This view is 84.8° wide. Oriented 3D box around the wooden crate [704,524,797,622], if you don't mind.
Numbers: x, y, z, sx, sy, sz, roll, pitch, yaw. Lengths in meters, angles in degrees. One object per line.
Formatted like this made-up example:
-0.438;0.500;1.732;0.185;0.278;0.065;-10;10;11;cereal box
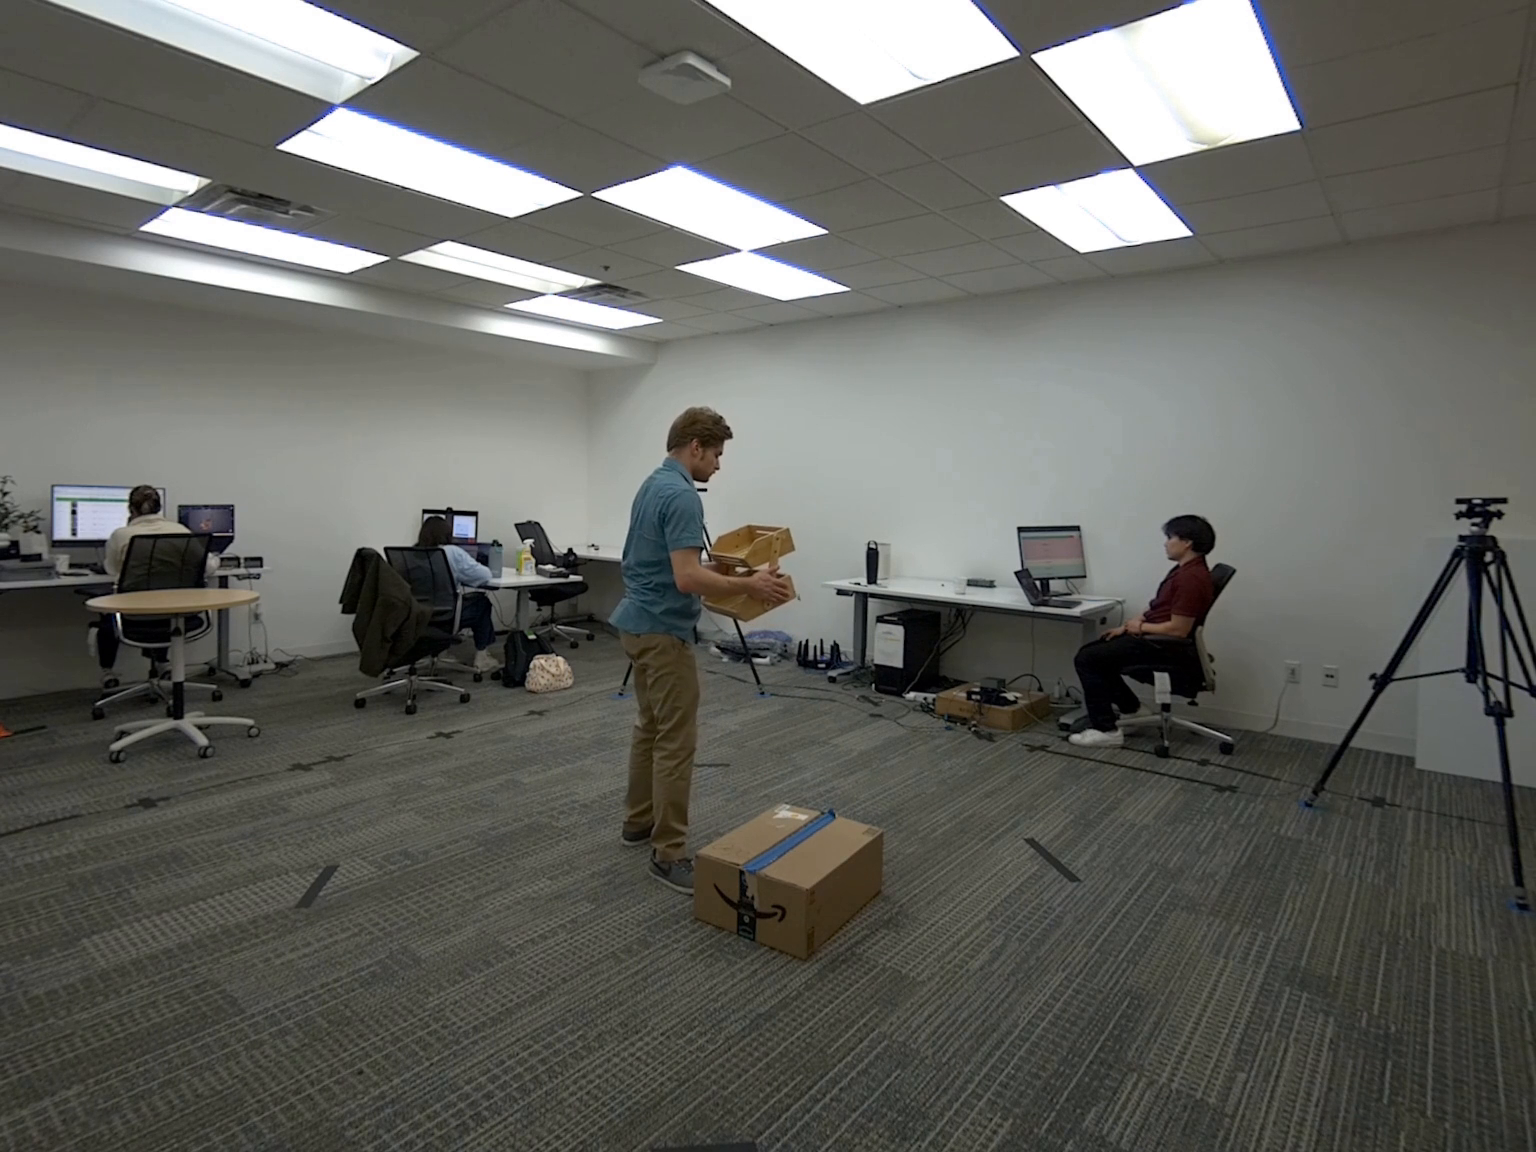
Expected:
-0.100;-0.020;3.204;0.298;0.269;0.334;-23;15;-25;wooden crate
